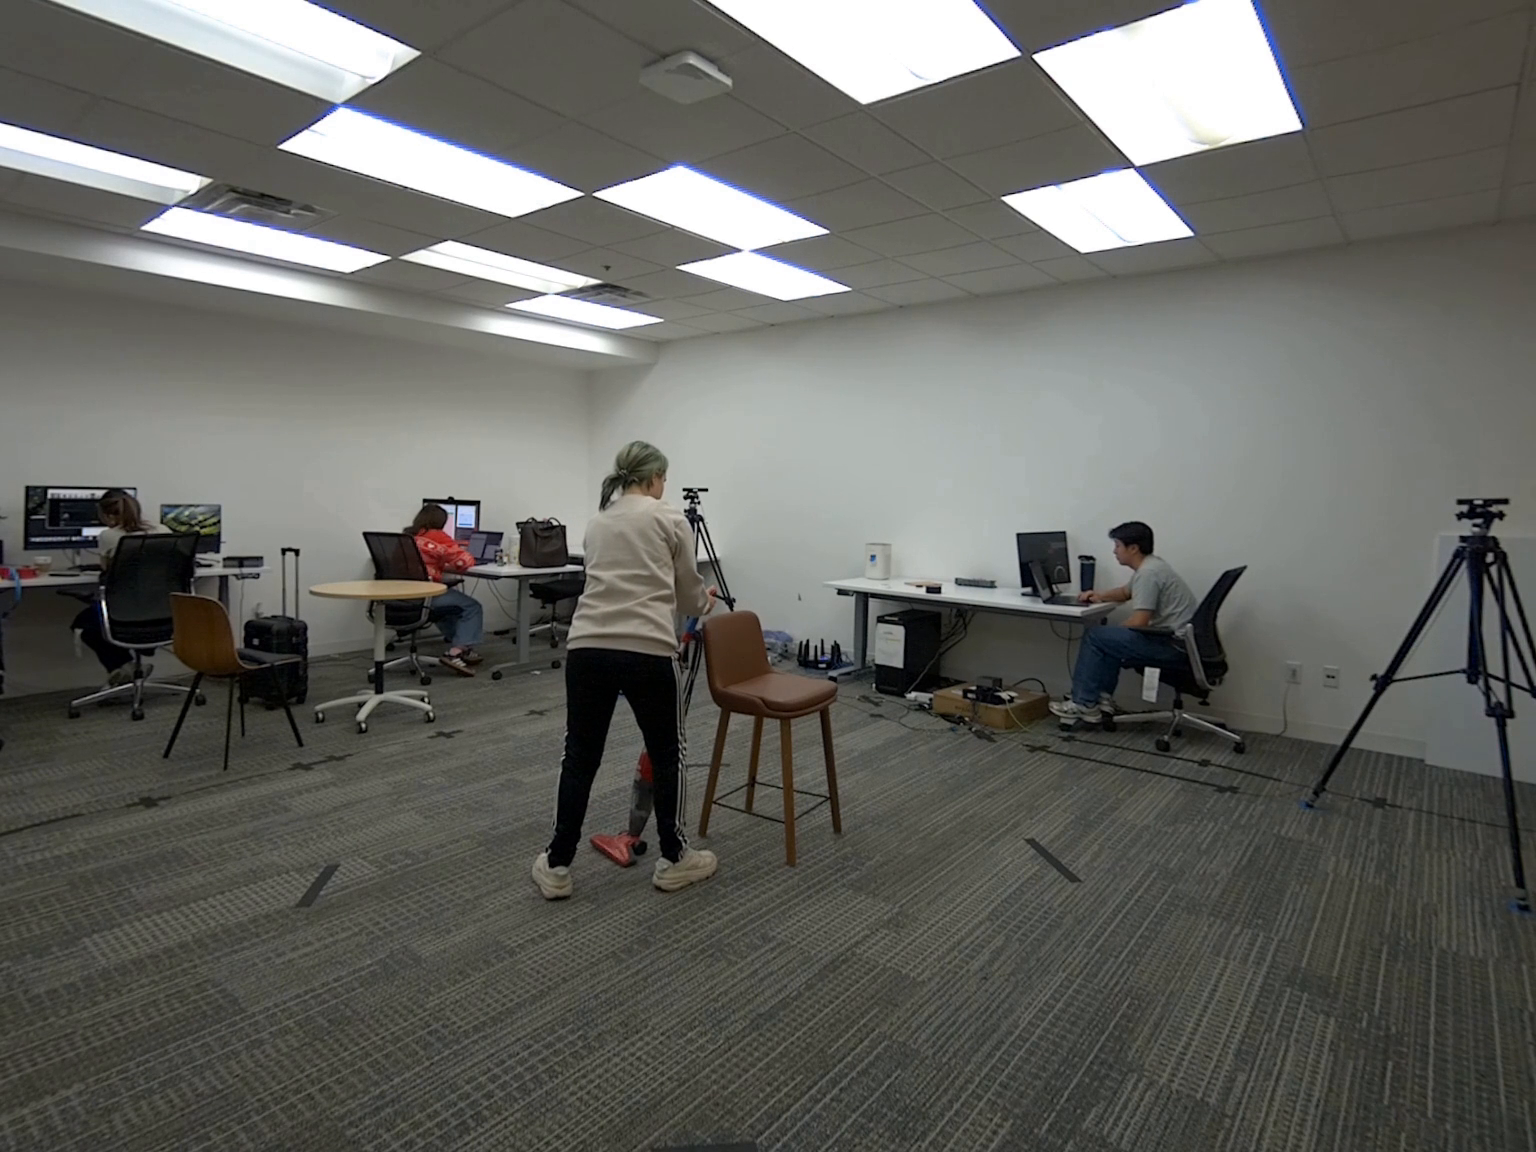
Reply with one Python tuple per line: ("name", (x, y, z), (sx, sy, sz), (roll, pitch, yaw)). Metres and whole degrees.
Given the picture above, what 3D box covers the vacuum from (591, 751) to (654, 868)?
("vacuum", (-0.412, 0.556, 3.324), (0.262, 1.054, 0.138), (9, -11, 44))
